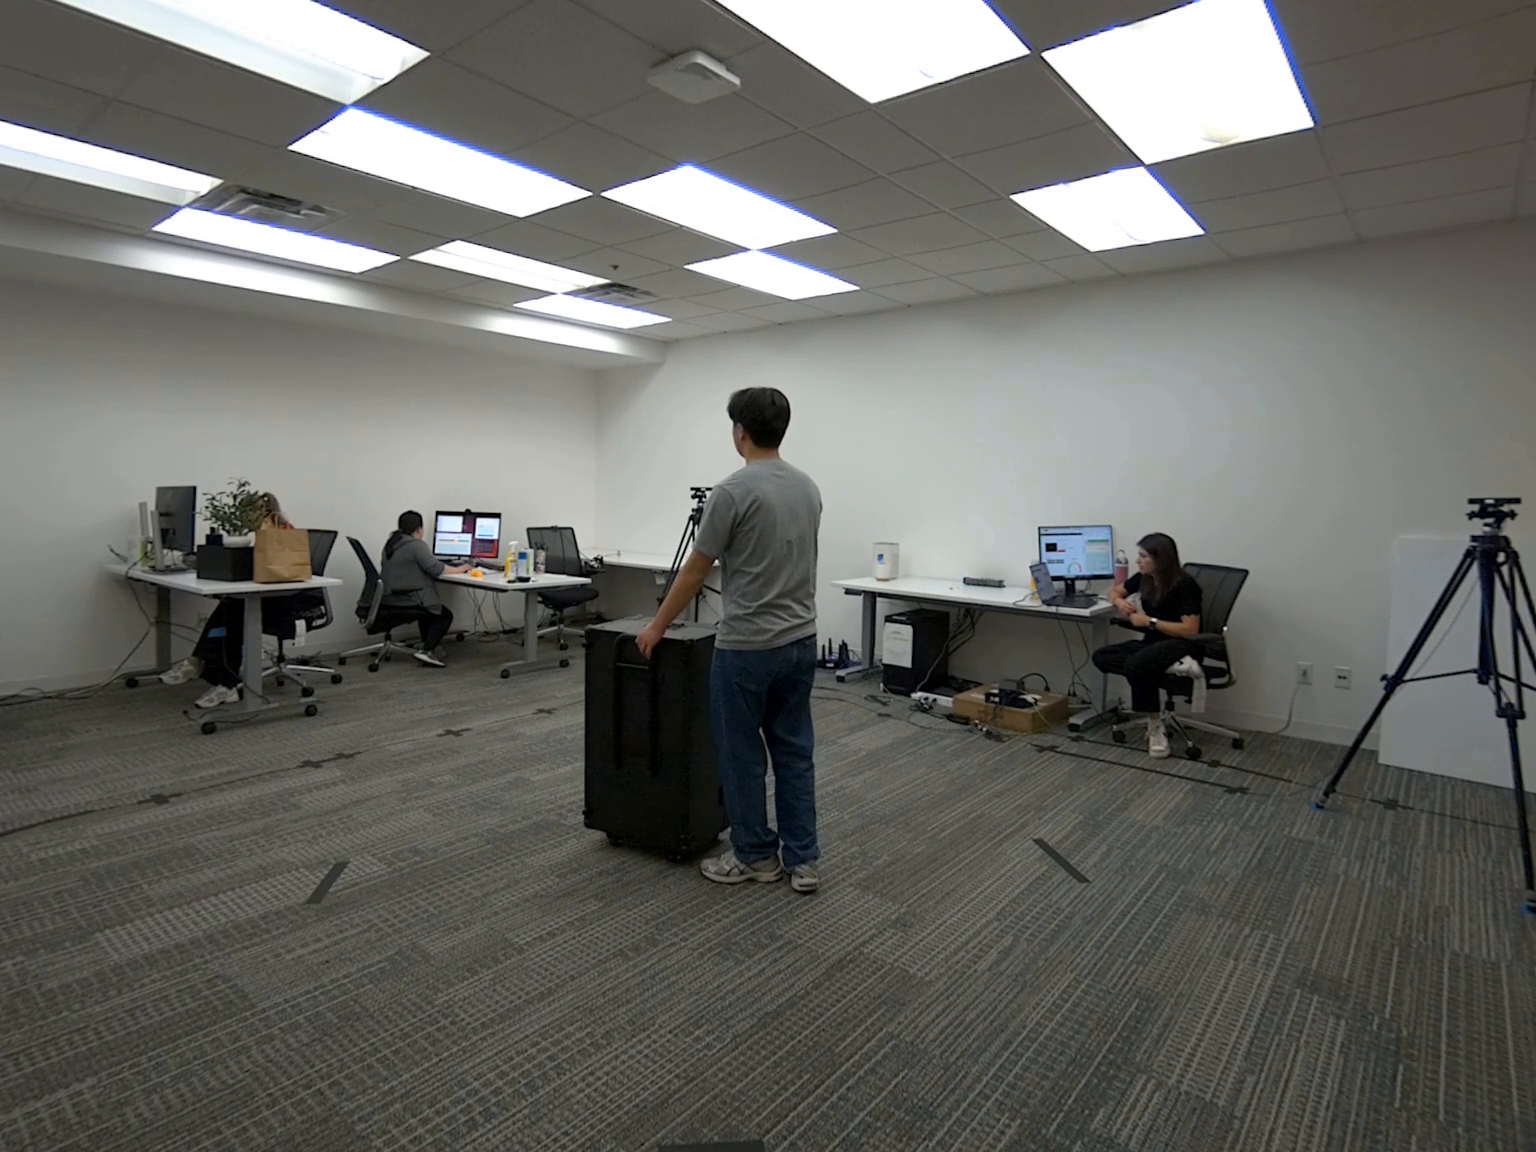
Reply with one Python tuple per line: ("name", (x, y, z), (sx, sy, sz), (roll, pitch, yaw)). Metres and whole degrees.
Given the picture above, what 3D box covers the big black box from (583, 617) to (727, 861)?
("big black box", (-0.429, 0.622, 3.296), (0.536, 0.858, 0.387), (3, 5, 29))
